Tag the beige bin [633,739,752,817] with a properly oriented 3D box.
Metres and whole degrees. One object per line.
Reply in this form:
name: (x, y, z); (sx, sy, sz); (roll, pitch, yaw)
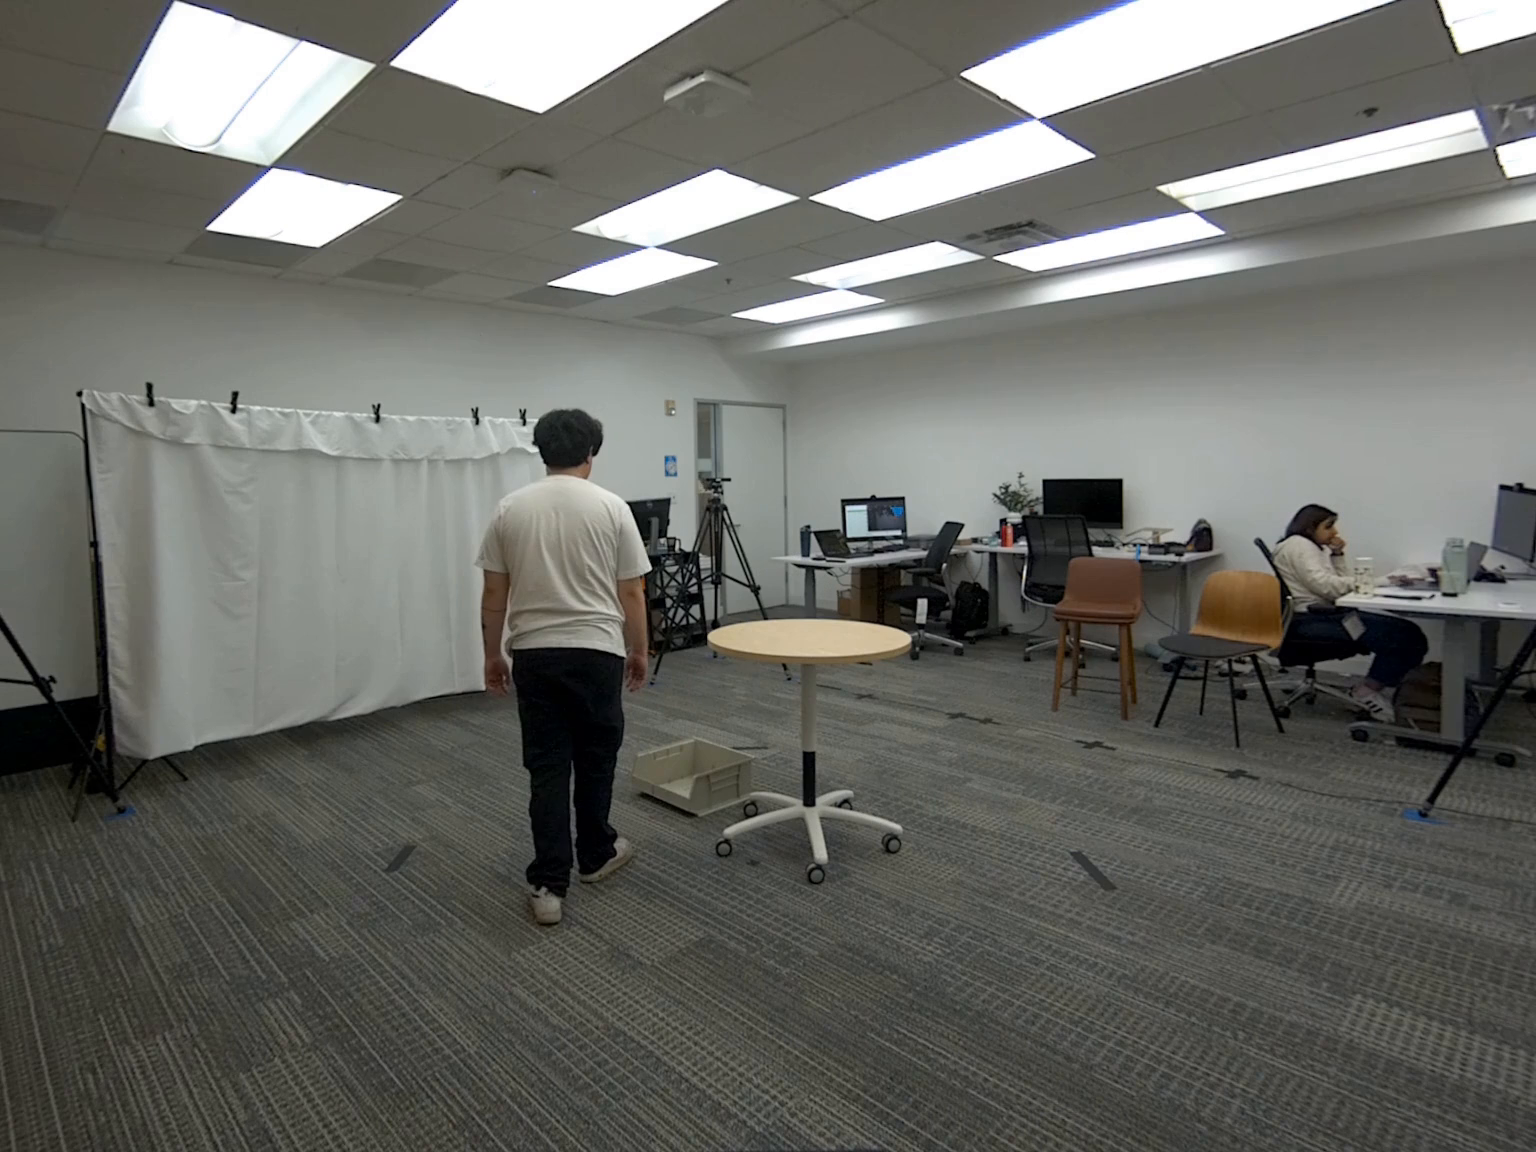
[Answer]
beige bin: (-0.331, 0.884, 3.774); (0.367, 0.188, 0.435); (-5, 7, -43)
